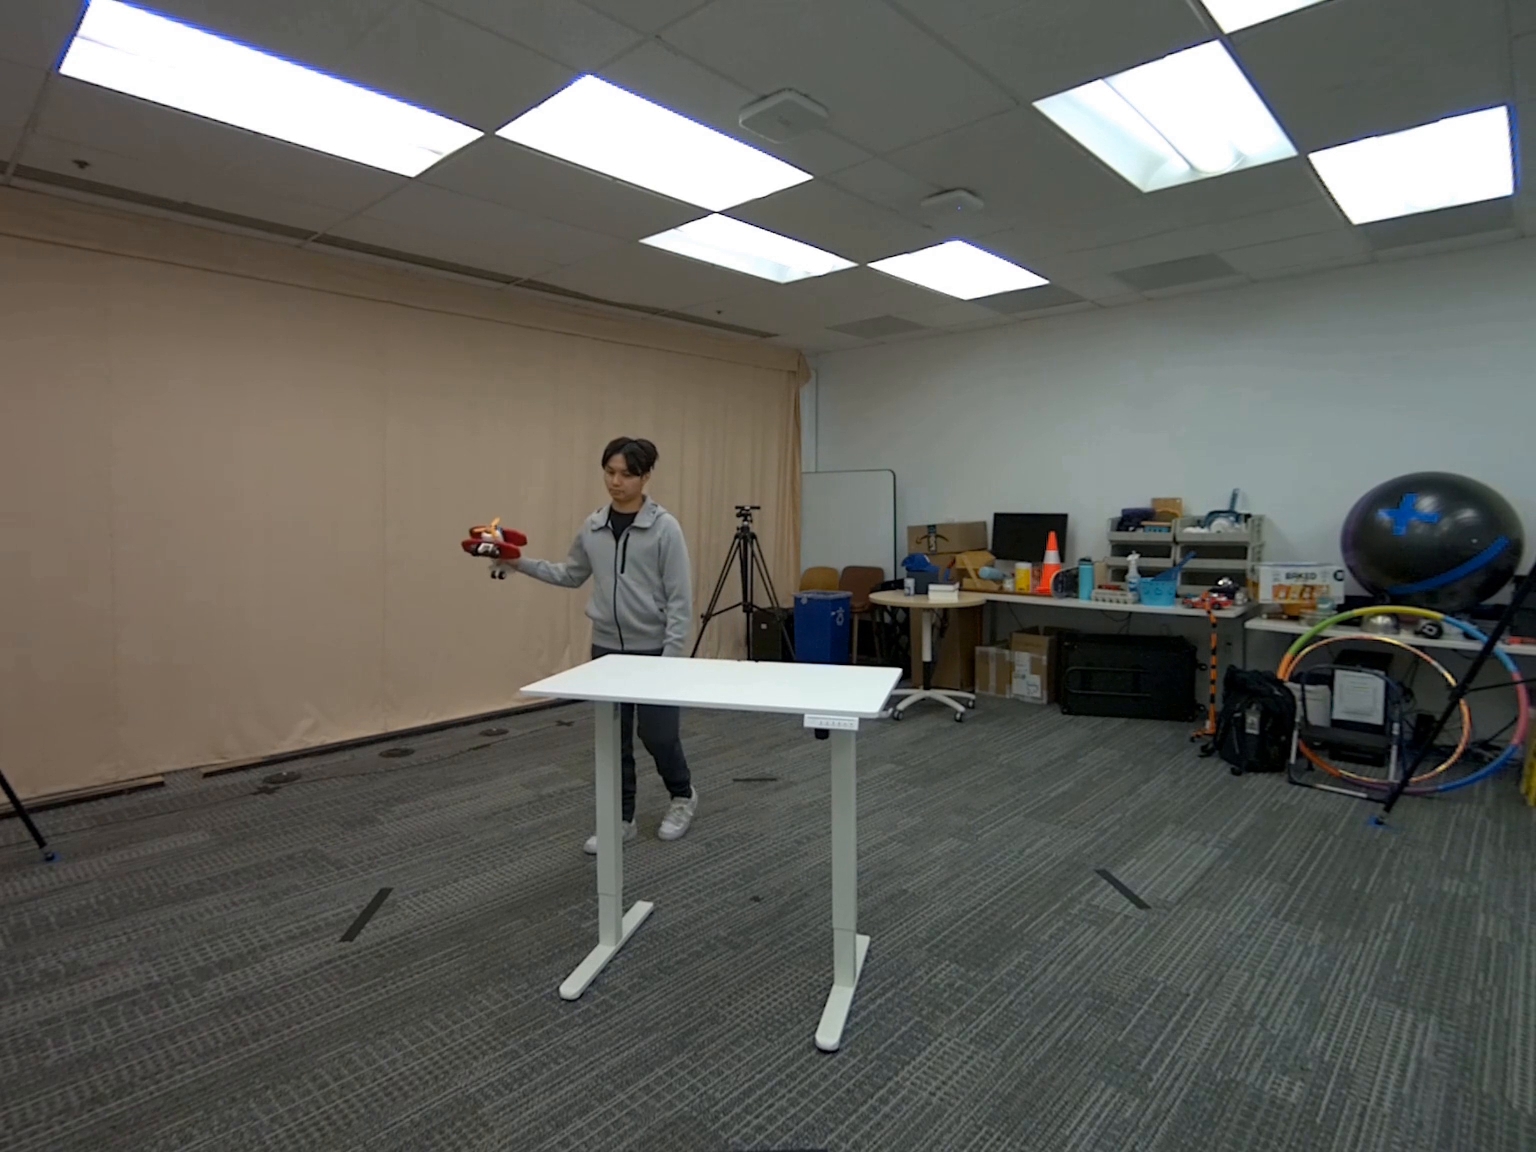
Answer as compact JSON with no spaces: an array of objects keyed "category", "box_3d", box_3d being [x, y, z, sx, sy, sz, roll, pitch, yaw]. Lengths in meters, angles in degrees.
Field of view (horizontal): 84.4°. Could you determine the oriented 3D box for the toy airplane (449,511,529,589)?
[{"category":"toy airplane","box_3d":[-1.165,-0.104,3.524,0.247,0.158,0.261,21,-30,-15]}]
